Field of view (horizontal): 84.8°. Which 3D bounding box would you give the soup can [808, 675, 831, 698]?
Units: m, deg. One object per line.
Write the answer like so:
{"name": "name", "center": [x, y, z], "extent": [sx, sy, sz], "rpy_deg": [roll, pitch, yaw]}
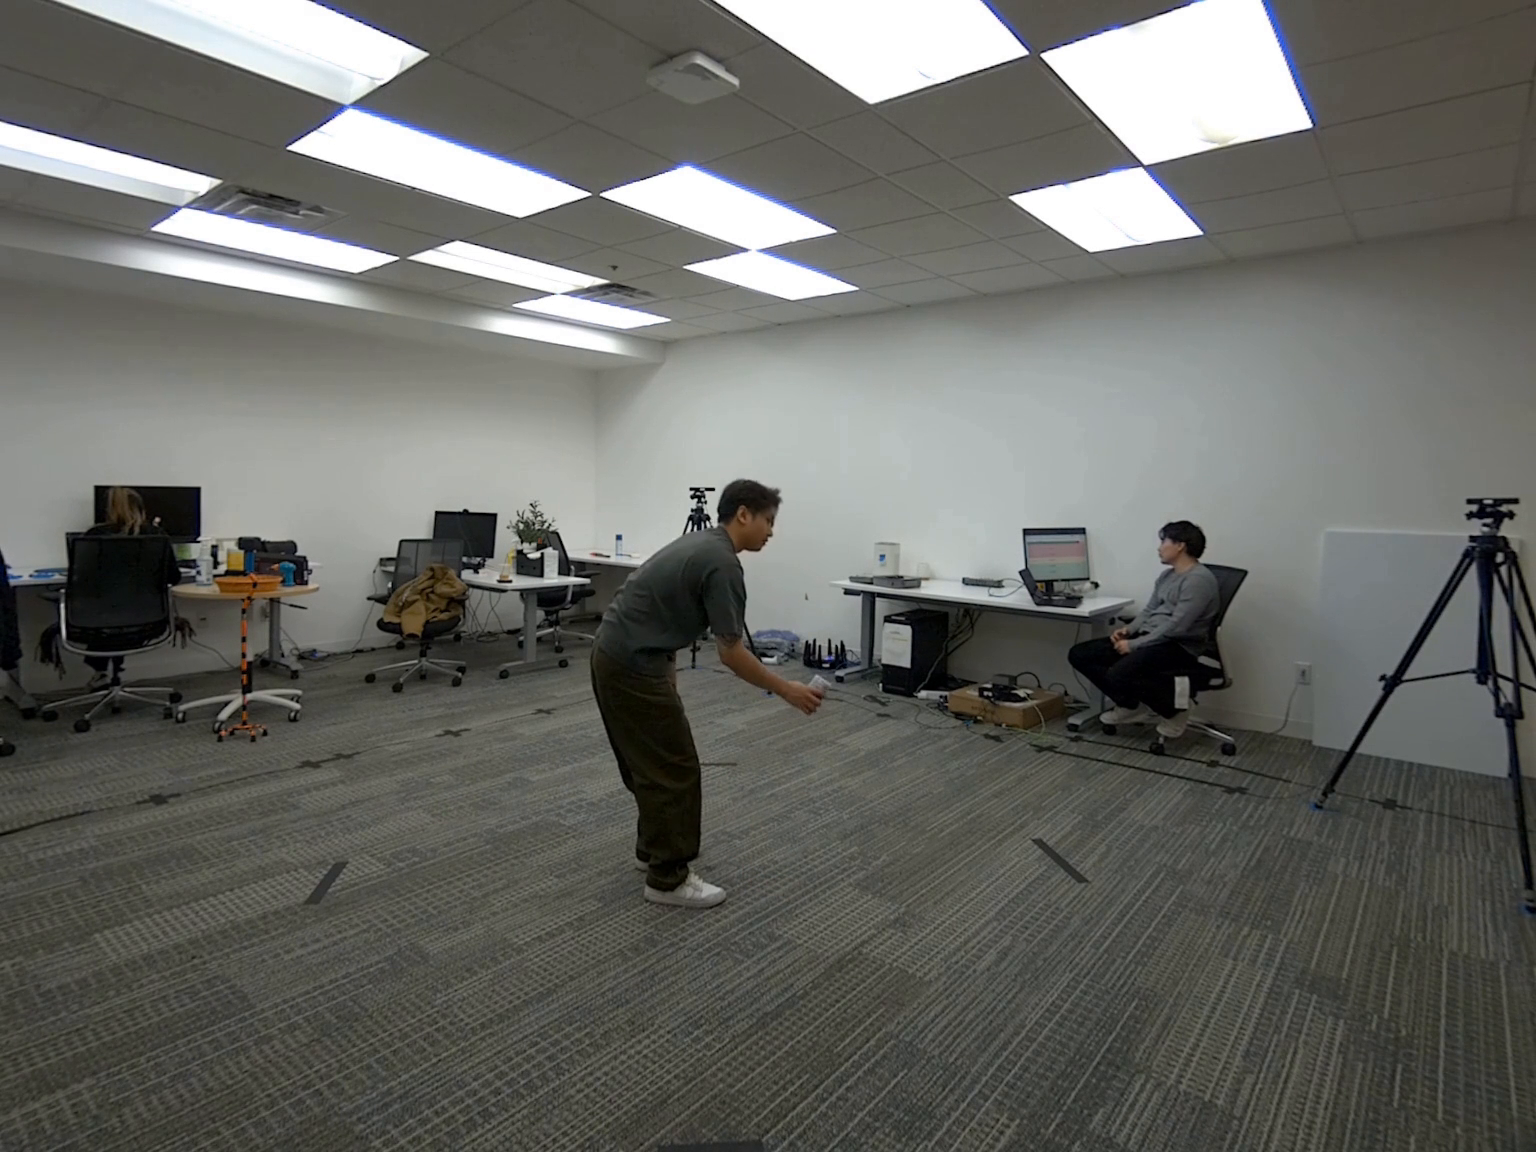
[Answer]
{"name": "soup can", "center": [0.160, 0.390, 2.936], "extent": [0.067, 0.122, 0.067], "rpy_deg": [33, -5, 1]}
